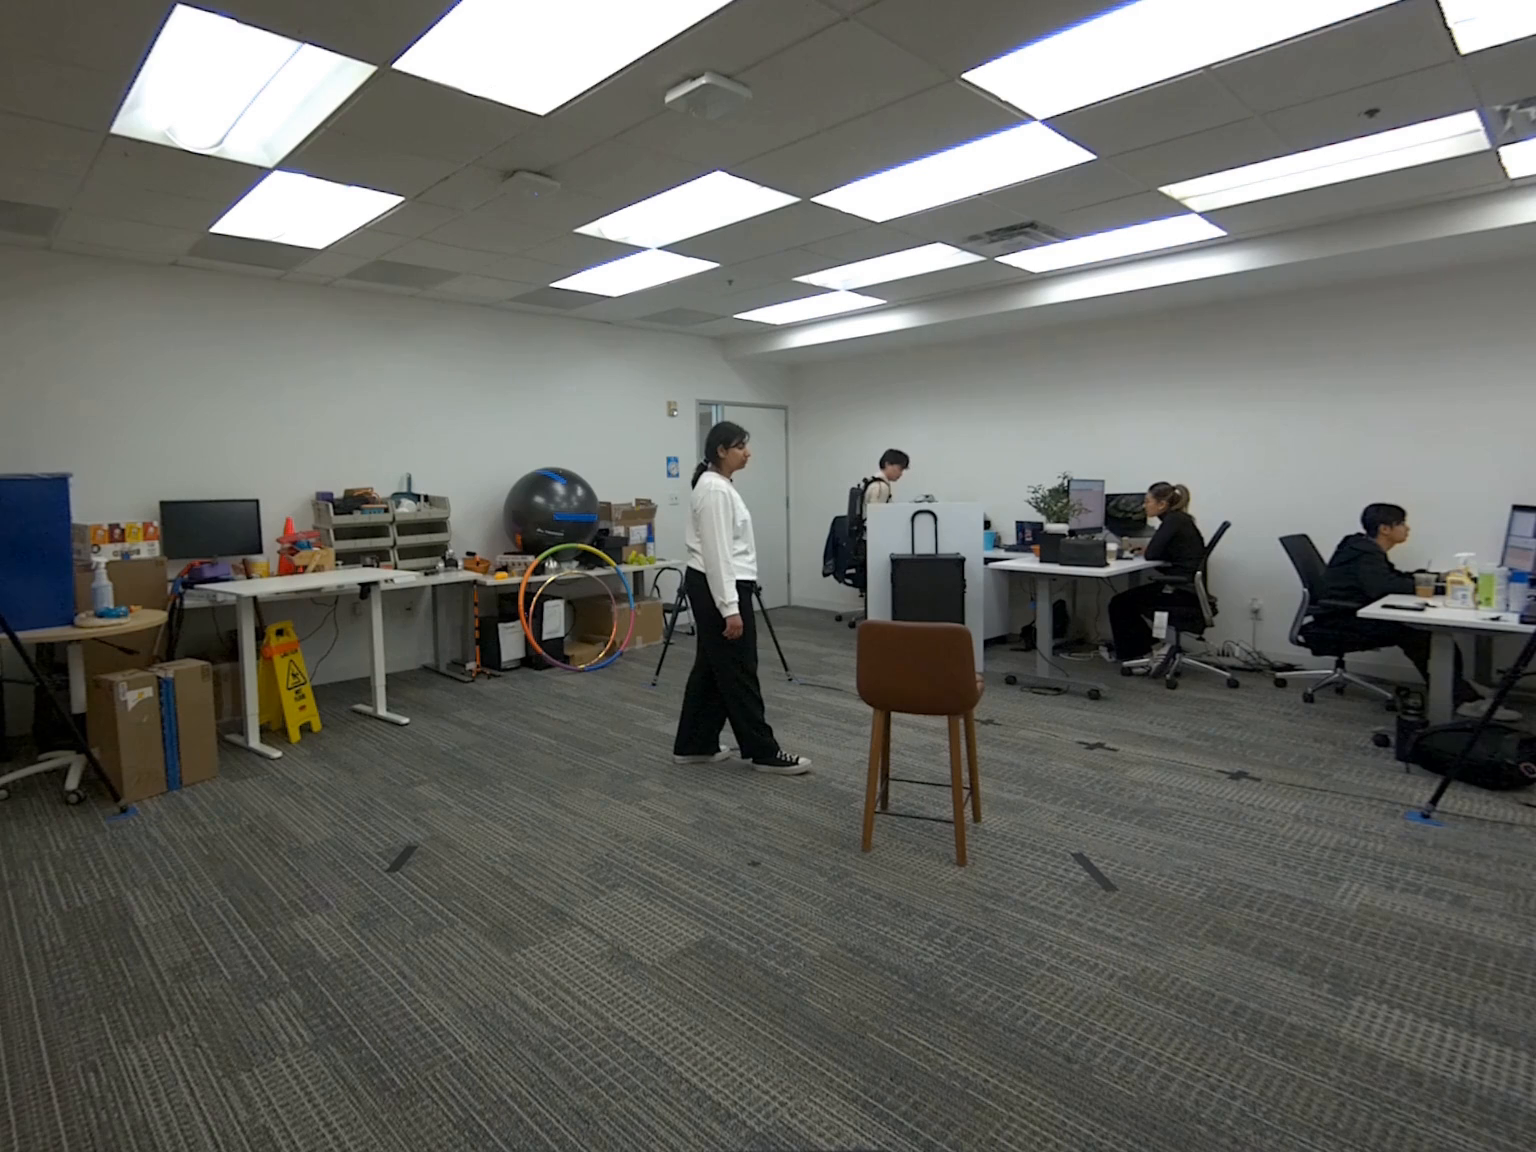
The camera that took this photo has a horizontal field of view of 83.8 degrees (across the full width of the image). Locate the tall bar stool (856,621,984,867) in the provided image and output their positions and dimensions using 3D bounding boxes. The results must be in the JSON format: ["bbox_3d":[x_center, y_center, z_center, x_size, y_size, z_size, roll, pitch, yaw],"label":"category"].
[{"bbox_3d":[0.592,0.576,3.305,0.466,0.886,0.460,1,5,22],"label":"tall bar stool"}]
